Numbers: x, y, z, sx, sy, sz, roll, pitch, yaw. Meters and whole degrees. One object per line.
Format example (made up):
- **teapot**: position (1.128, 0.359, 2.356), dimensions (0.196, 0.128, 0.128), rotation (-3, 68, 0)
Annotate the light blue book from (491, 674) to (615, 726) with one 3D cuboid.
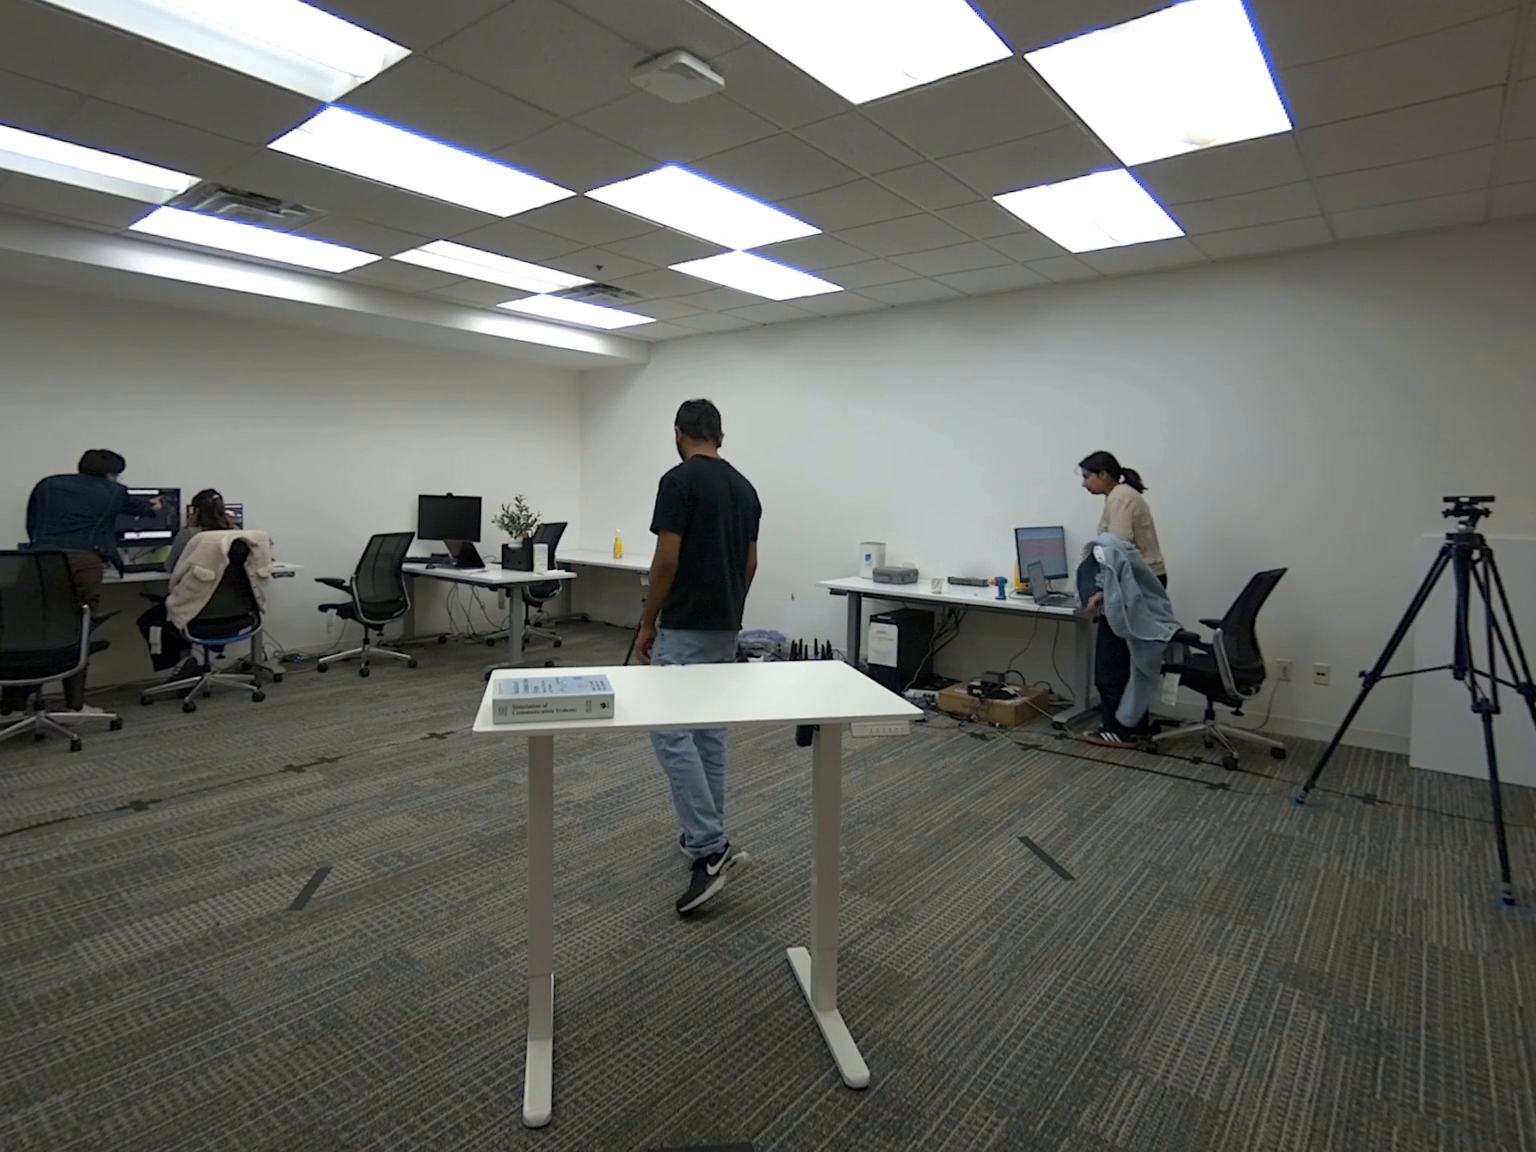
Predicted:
- **light blue book**: position (-0.493, 0.270, 1.936), dimensions (0.257, 0.059, 0.195), rotation (-1, 7, -16)
